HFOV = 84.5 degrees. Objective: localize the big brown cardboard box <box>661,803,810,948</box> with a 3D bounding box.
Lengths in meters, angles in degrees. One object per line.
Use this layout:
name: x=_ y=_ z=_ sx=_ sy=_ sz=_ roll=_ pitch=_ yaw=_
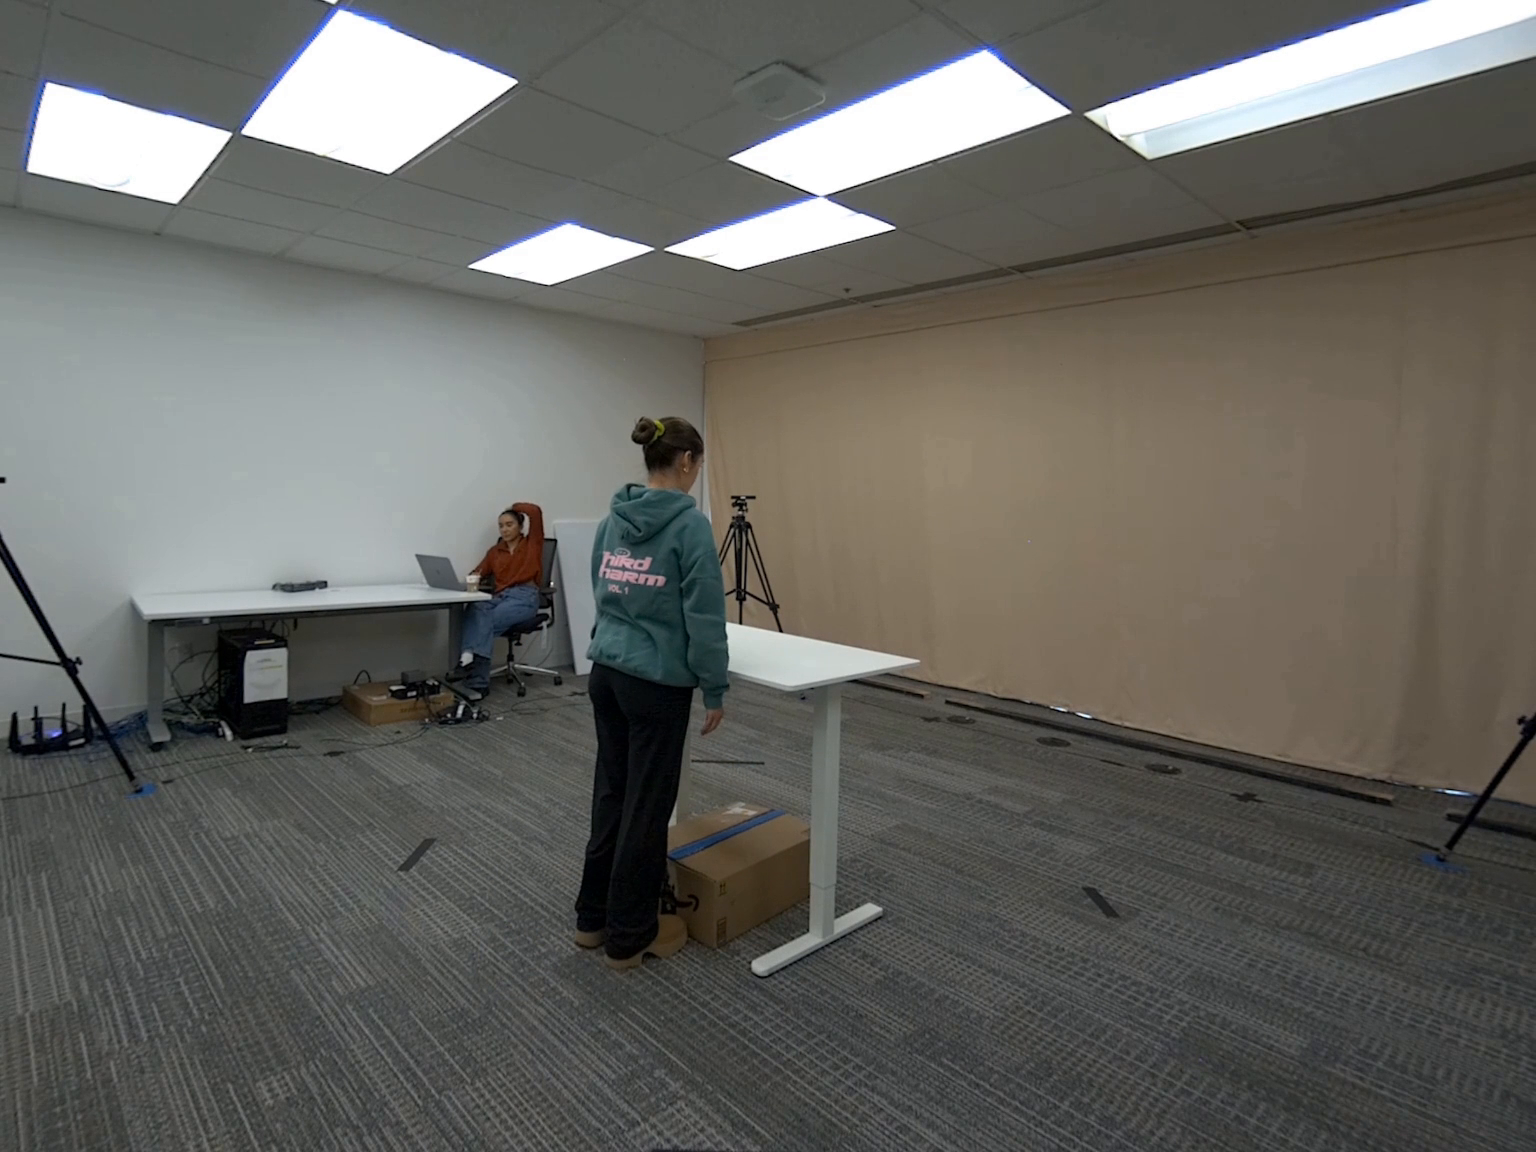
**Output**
big brown cardboard box: x=-0.137 y=1.003 z=2.920 sx=0.428 sy=0.232 sz=0.576 roll=5 pitch=7 yaw=41
